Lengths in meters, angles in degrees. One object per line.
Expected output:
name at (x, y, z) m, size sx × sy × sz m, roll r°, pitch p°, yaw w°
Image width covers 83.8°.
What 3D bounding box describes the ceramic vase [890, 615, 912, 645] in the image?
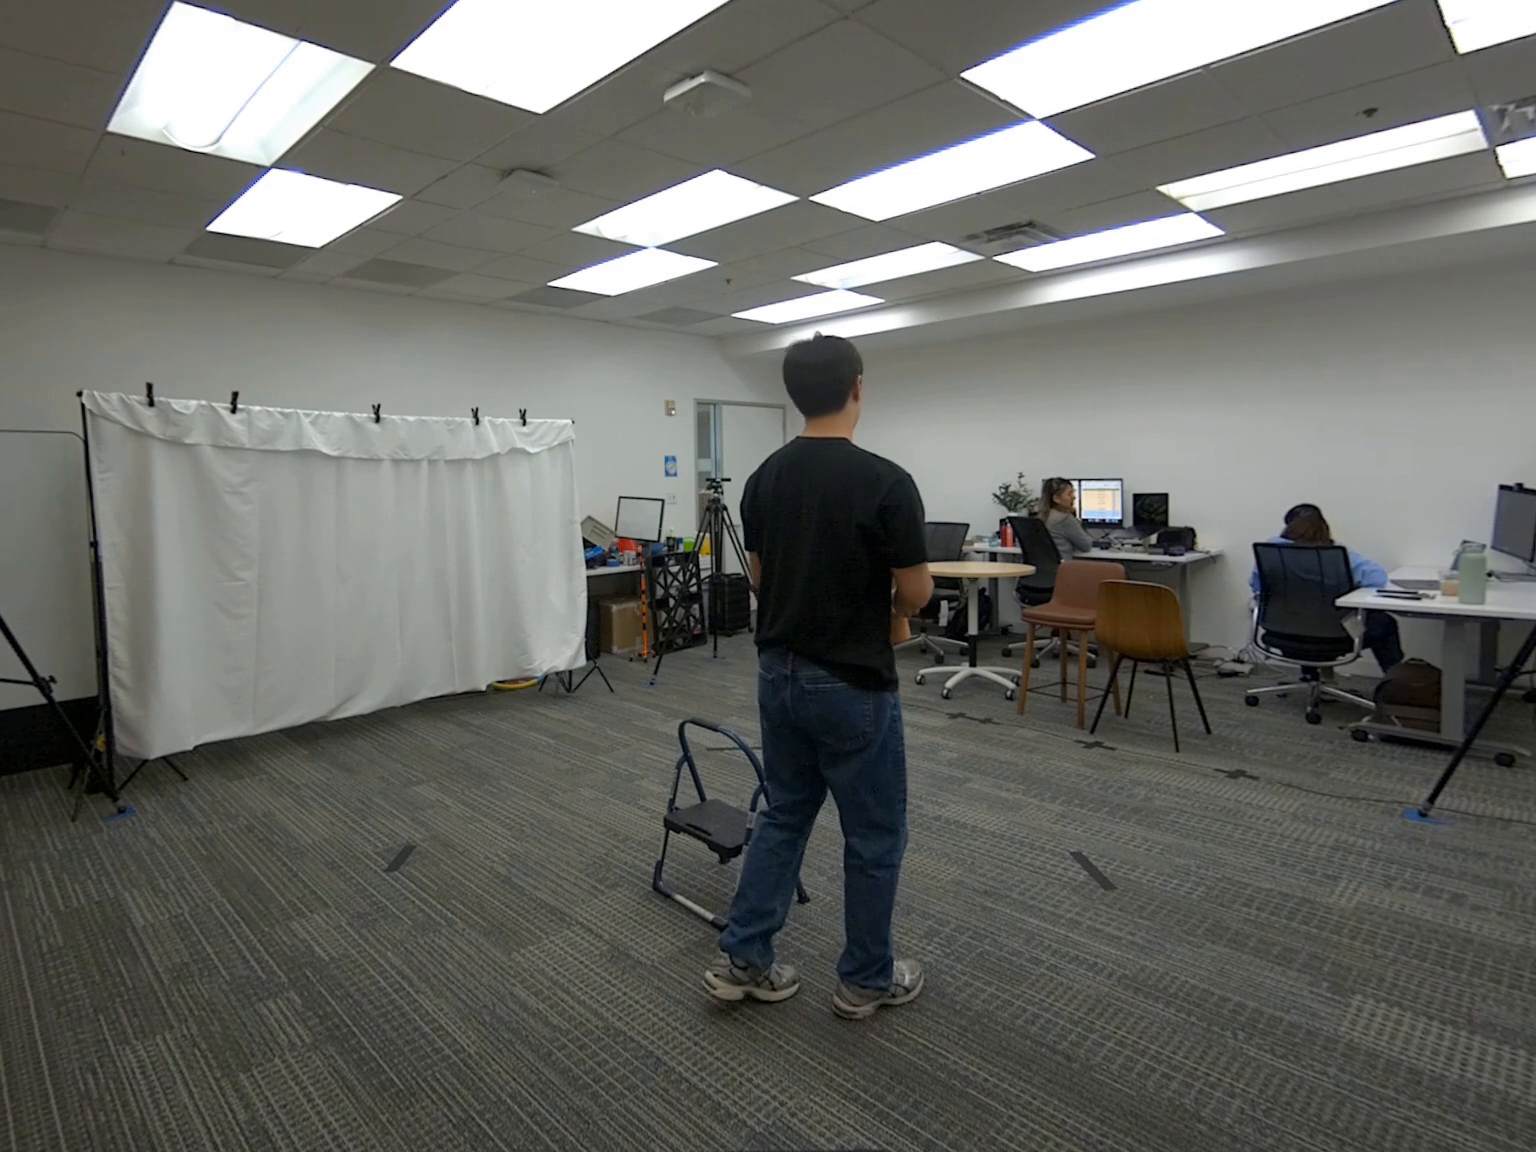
ceramic vase at (0.395, 0.080, 2.489) m, size 0.133 × 0.218 × 0.161 m, roll -2°, pitch 8°, yaw -10°
